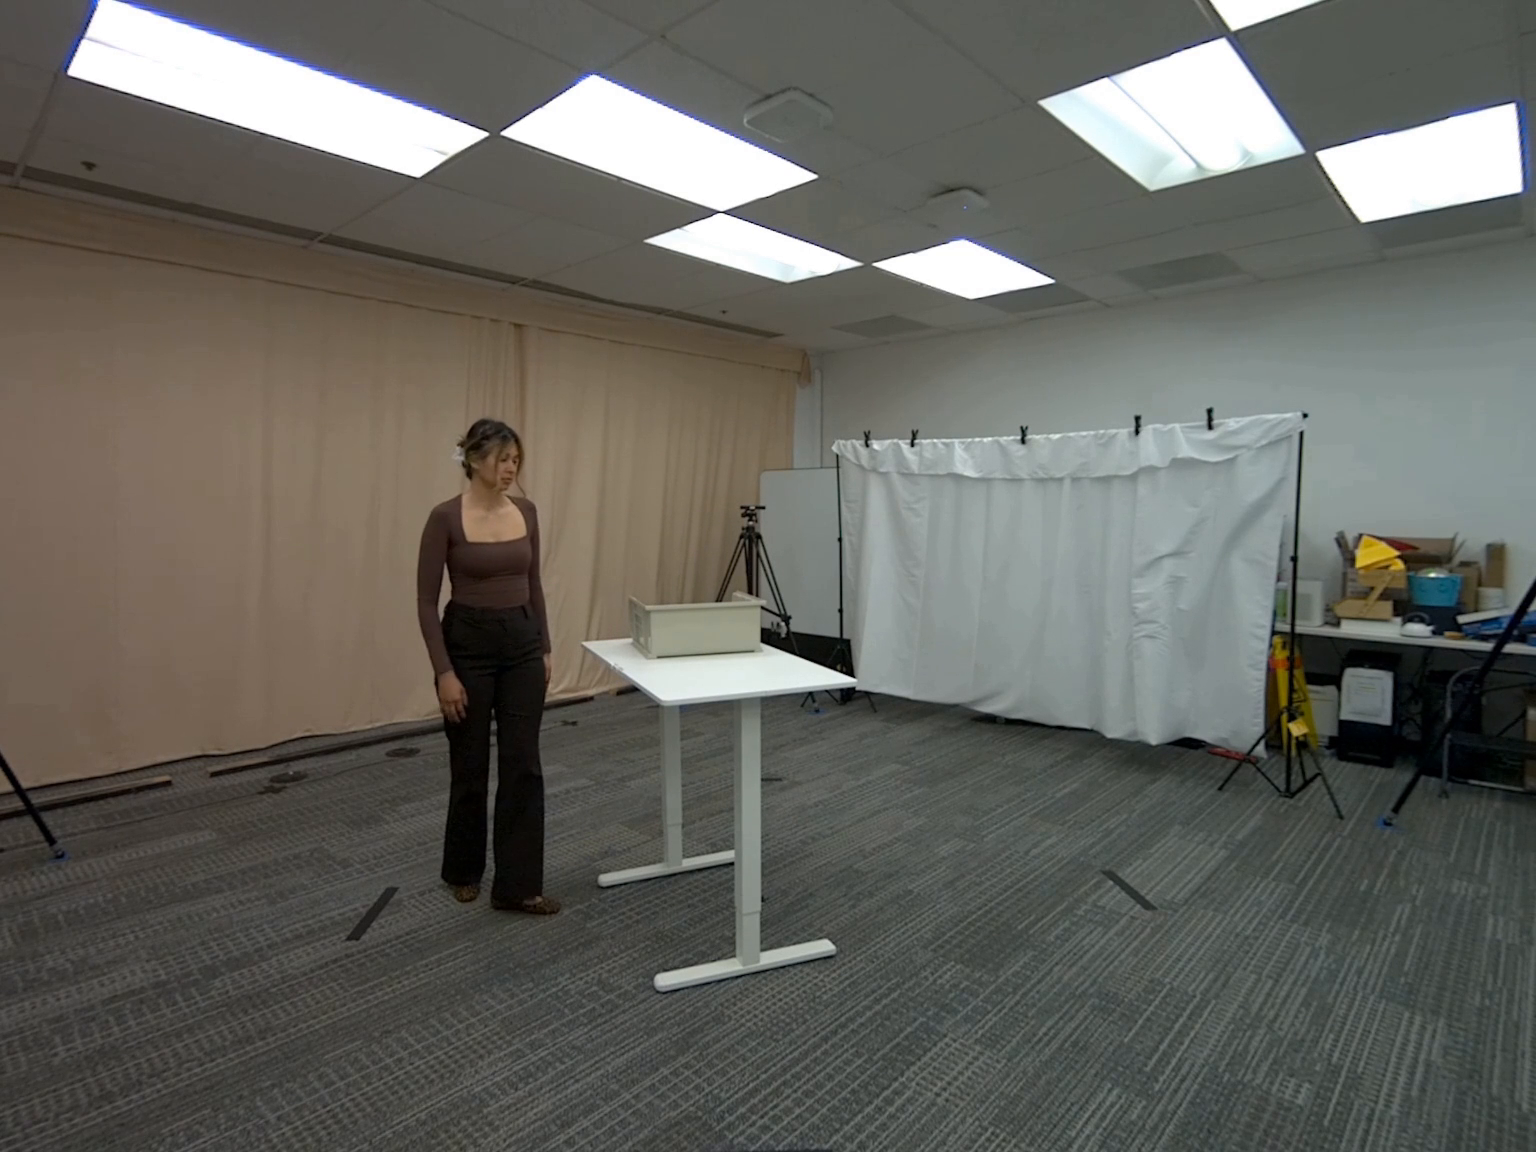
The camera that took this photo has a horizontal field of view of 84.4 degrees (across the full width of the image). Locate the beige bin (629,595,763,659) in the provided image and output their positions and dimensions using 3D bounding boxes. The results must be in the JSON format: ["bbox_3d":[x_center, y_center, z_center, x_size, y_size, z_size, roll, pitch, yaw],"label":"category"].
[{"bbox_3d":[-0.263,0.171,3.013,0.414,0.188,0.385,-2,6,-19],"label":"beige bin"}]
